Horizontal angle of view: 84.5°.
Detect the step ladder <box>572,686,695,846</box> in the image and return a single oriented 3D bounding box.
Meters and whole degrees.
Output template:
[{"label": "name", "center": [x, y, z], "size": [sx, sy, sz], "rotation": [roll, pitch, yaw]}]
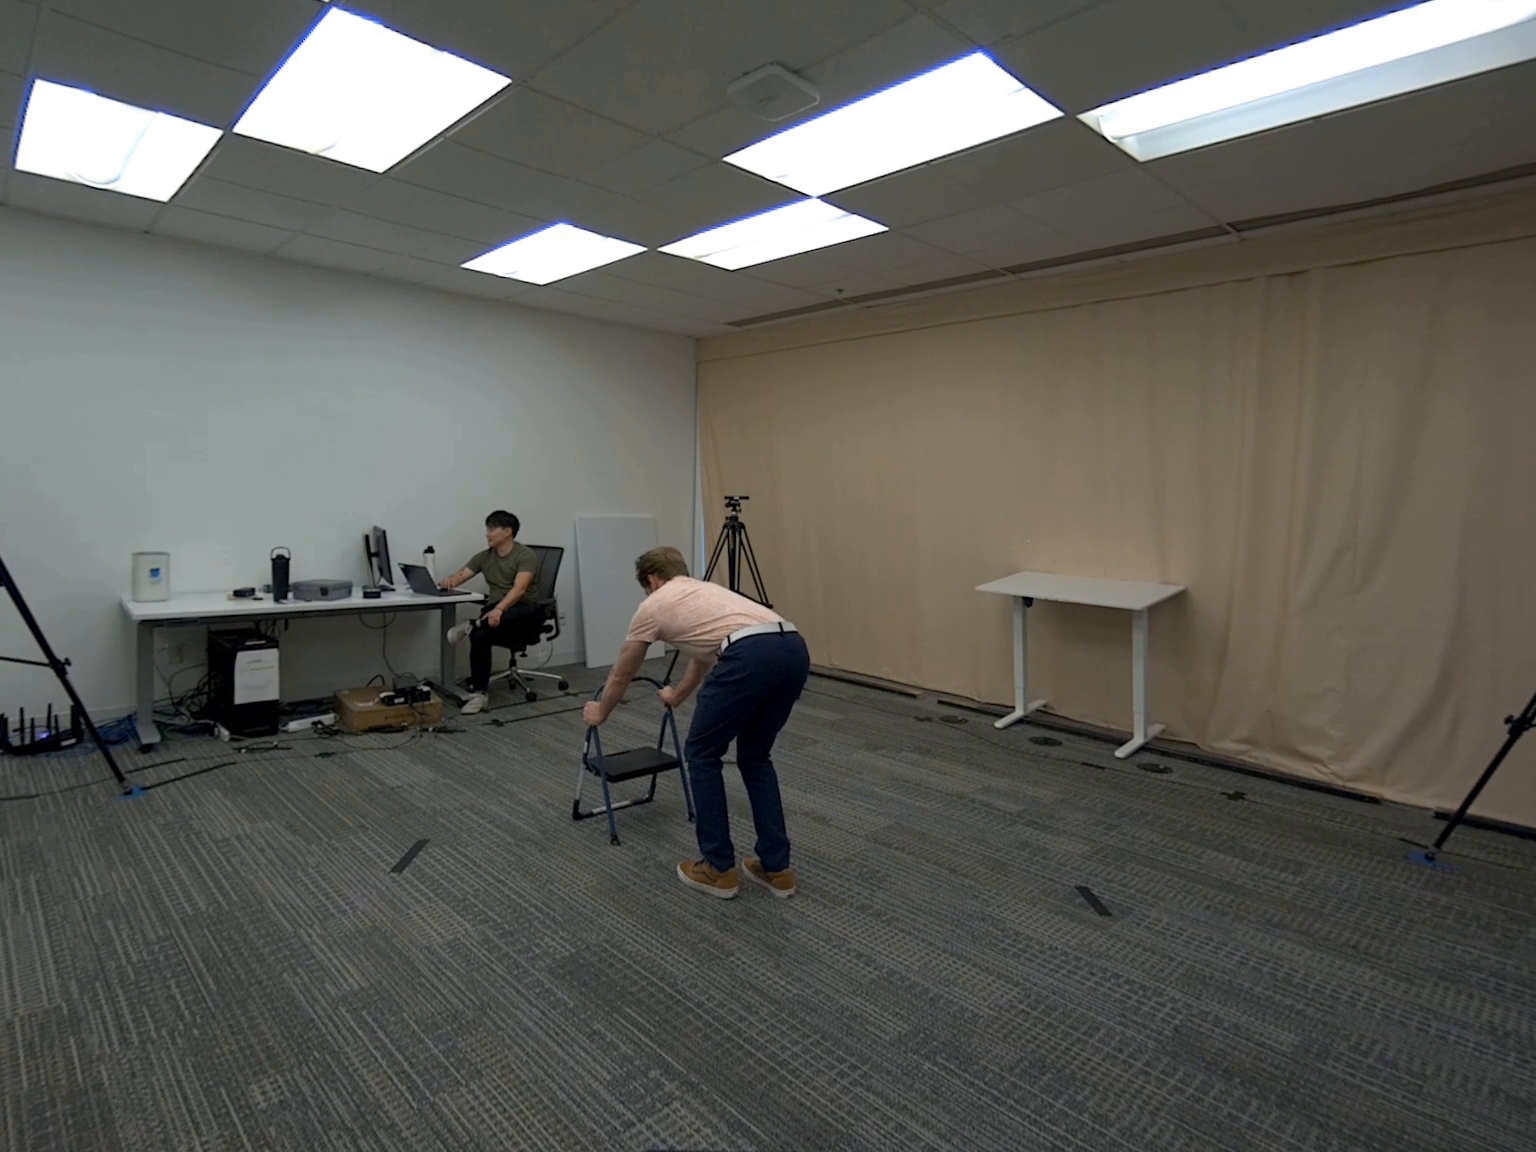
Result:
[{"label": "step ladder", "center": [-0.574, 0.750, 3.593], "size": [0.421, 0.605, 0.358], "rotation": [-2, 5, -43]}]
